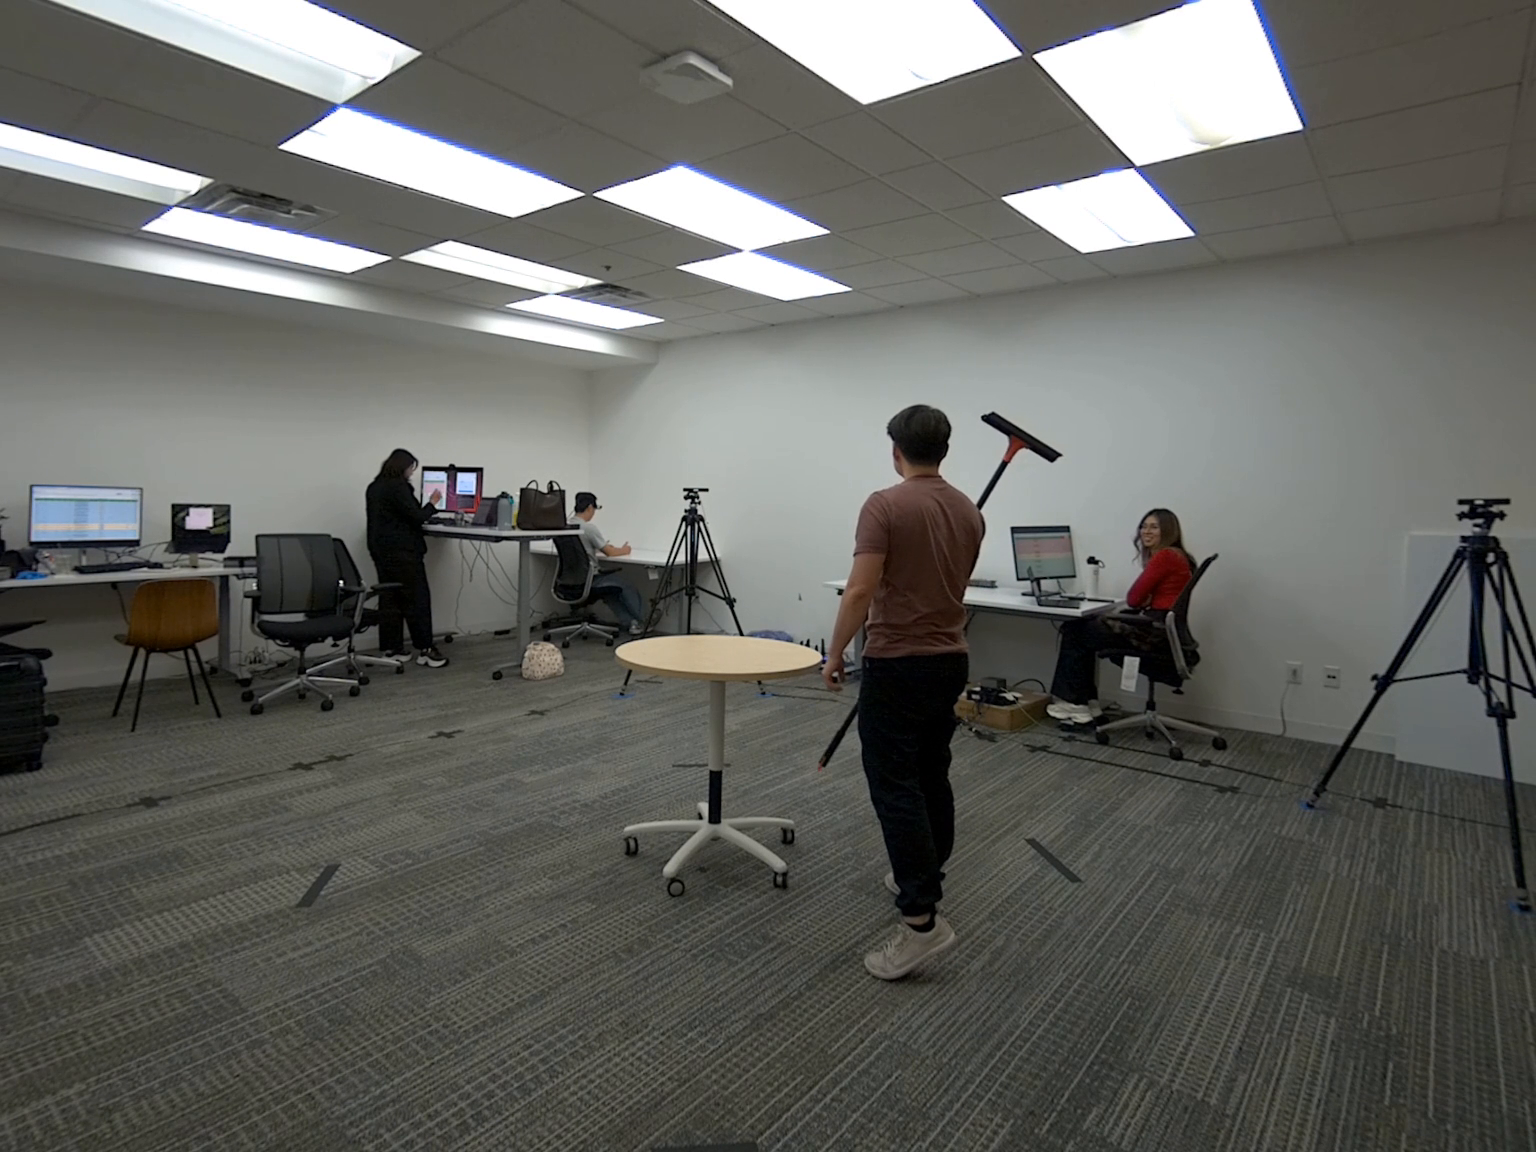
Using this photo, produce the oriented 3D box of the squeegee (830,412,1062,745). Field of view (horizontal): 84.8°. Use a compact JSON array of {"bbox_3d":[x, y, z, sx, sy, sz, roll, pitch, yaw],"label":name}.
[{"bbox_3d":[0.556,0.127,3.276,0.421,1.532,0.055,22,14,-35],"label":"squeegee"}]
